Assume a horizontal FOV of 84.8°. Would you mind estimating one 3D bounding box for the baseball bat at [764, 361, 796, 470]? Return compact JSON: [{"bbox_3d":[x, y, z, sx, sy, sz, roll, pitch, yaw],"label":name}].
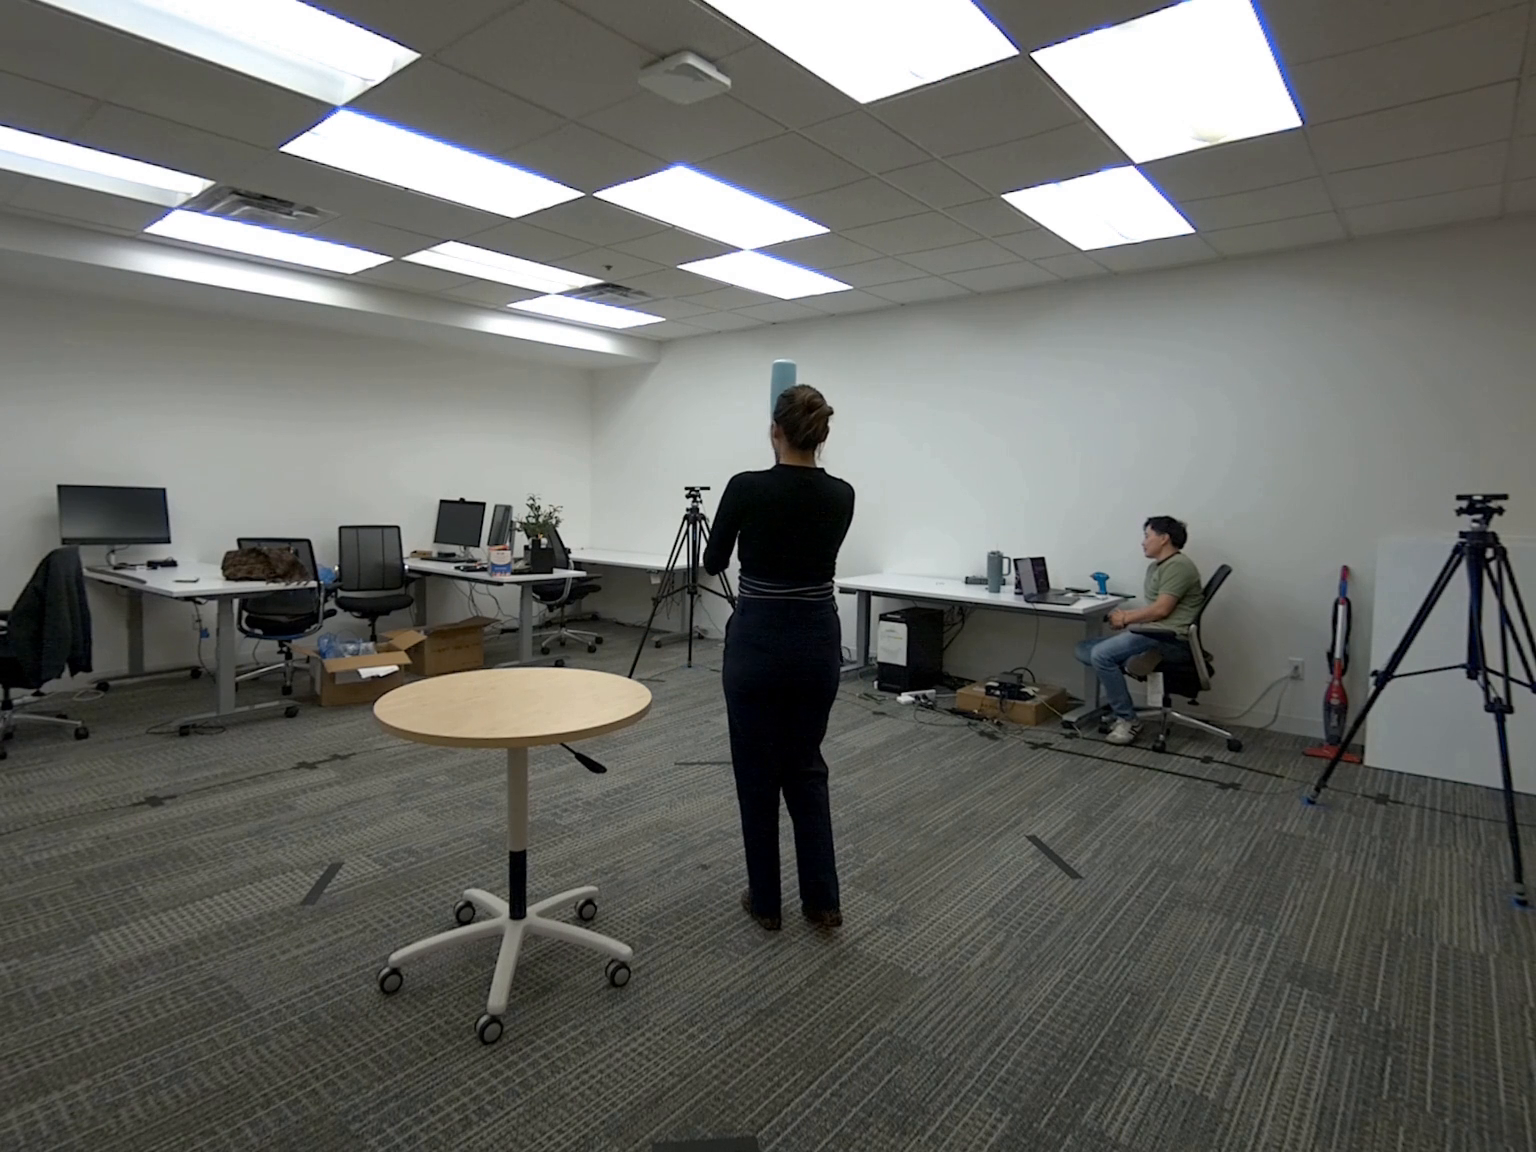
[{"bbox_3d":[0.036,-0.499,3.041,0.089,0.538,0.090,2,9,-2],"label":"baseball bat"}]
